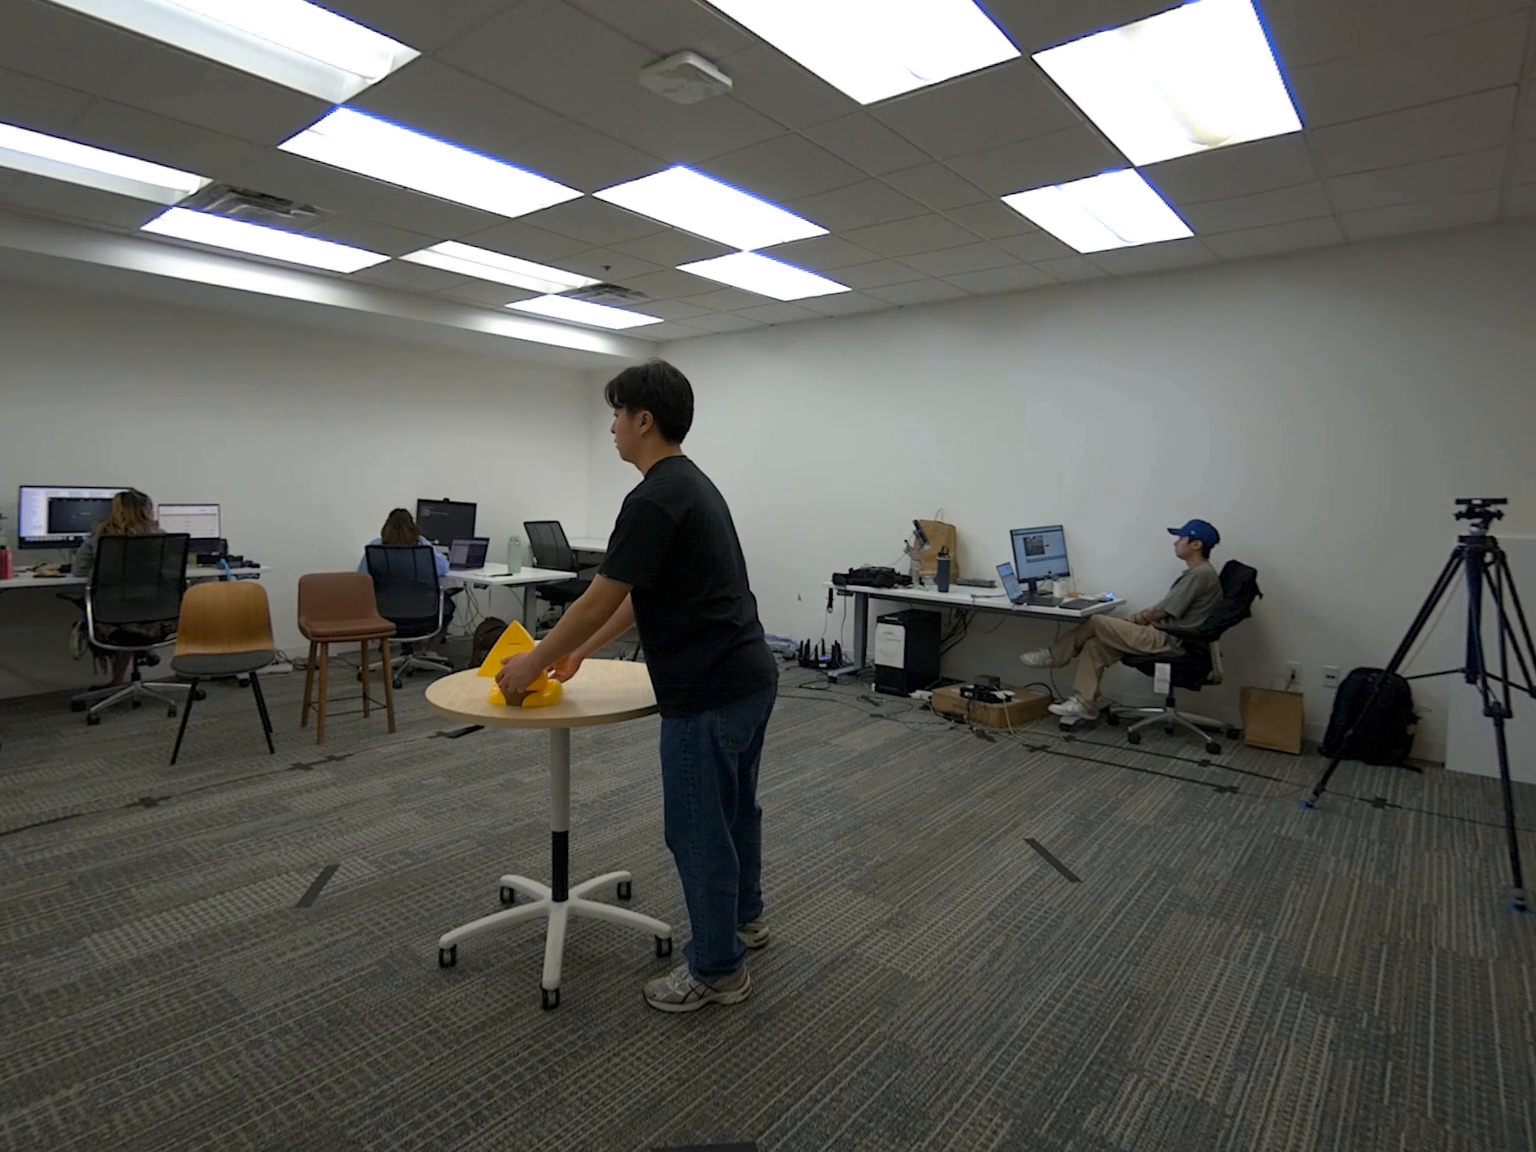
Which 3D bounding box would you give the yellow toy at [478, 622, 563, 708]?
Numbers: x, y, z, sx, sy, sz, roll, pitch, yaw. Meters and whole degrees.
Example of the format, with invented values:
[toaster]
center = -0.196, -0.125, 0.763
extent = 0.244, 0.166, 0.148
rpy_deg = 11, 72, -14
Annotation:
[yellow toy]
center = -0.683, 0.230, 2.346
extent = 0.207, 0.230, 0.191
rpy_deg = 1, 3, 11
